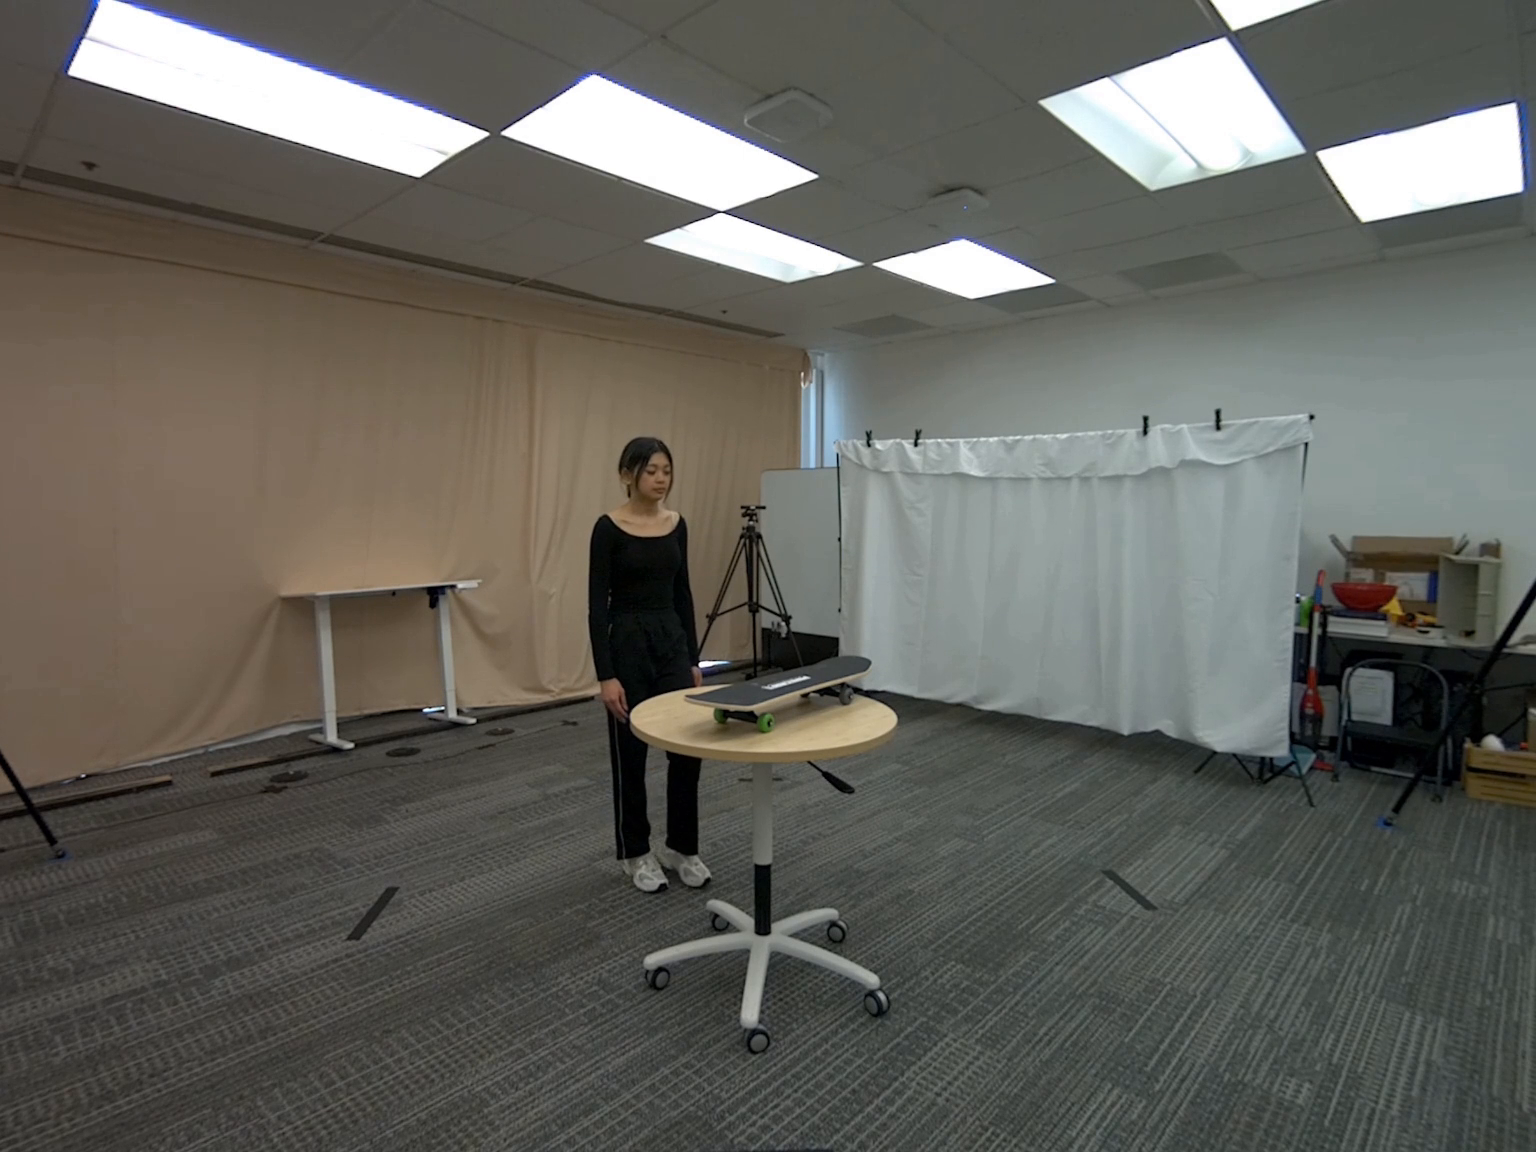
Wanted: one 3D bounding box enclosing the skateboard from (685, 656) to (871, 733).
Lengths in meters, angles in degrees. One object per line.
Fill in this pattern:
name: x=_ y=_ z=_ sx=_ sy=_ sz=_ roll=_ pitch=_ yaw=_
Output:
skateboard: x=0.059 y=0.350 z=2.429 sx=0.200 sy=0.110 sz=0.762 roll=5 pitch=7 yaw=38
